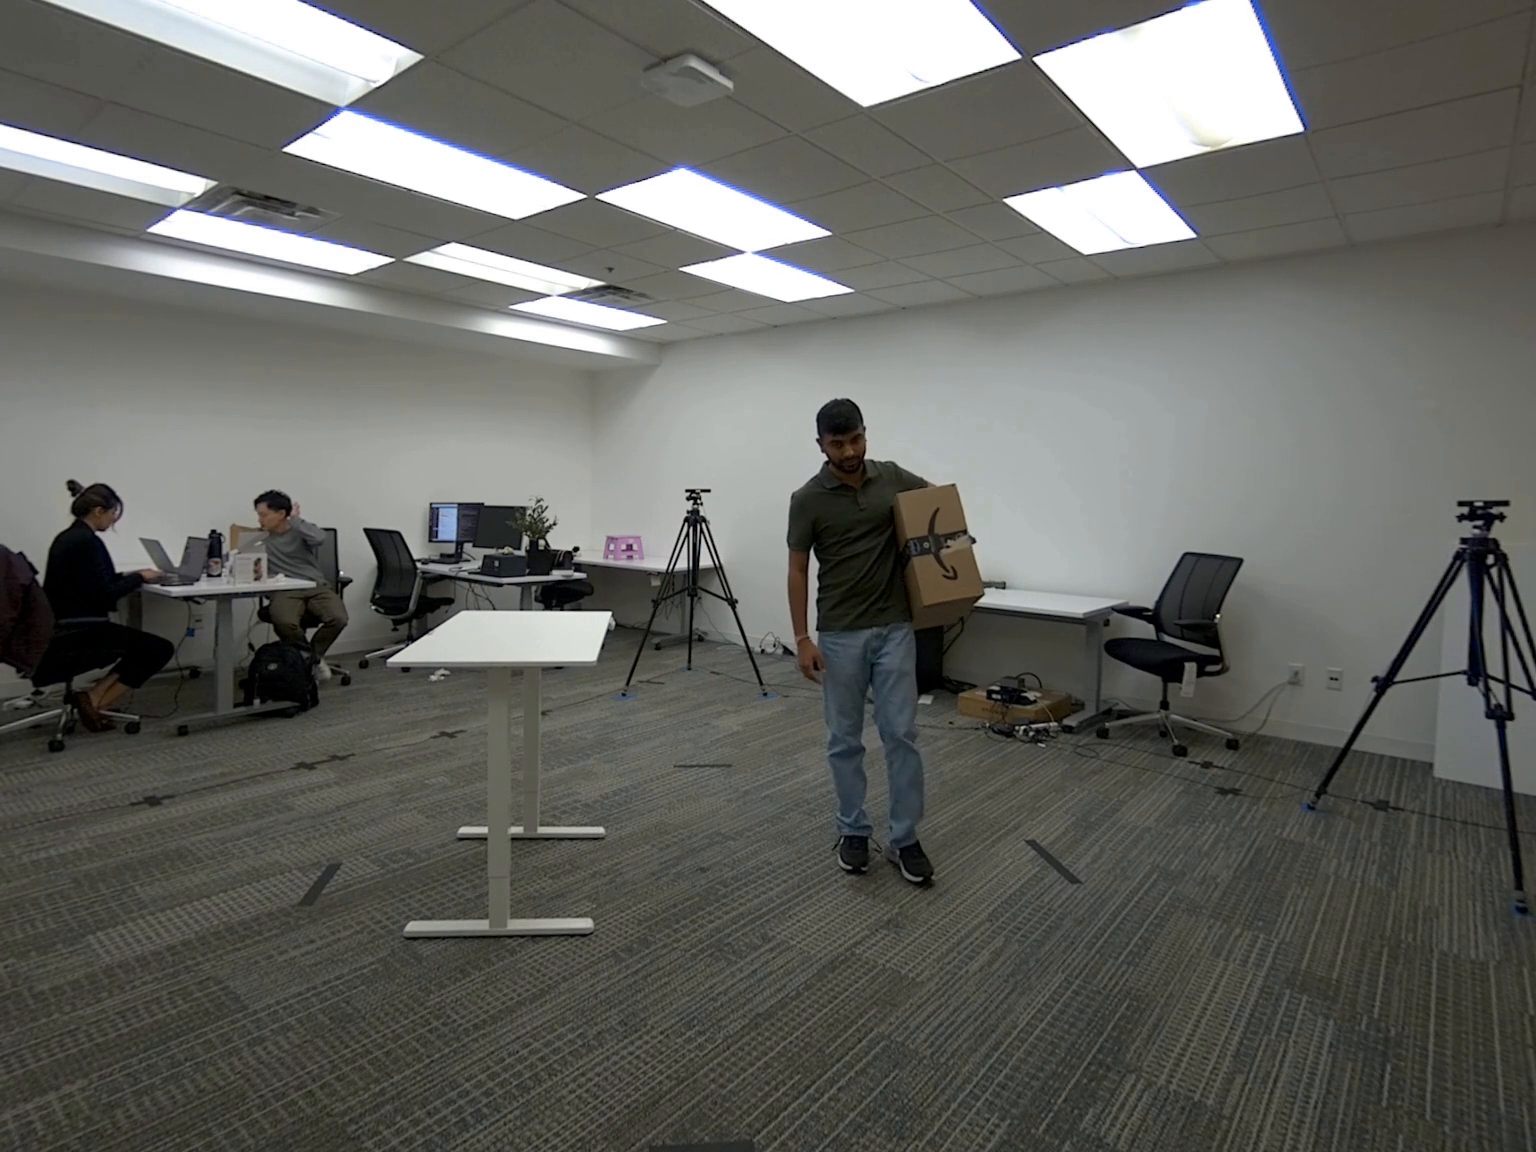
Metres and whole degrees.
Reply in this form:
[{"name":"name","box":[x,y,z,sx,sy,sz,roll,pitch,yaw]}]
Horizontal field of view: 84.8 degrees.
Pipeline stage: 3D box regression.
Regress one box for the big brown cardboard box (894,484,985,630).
[{"name":"big brown cardboard box","box":[0.598,-0.052,3.235,0.233,0.424,0.579,-10,-13,1]}]
